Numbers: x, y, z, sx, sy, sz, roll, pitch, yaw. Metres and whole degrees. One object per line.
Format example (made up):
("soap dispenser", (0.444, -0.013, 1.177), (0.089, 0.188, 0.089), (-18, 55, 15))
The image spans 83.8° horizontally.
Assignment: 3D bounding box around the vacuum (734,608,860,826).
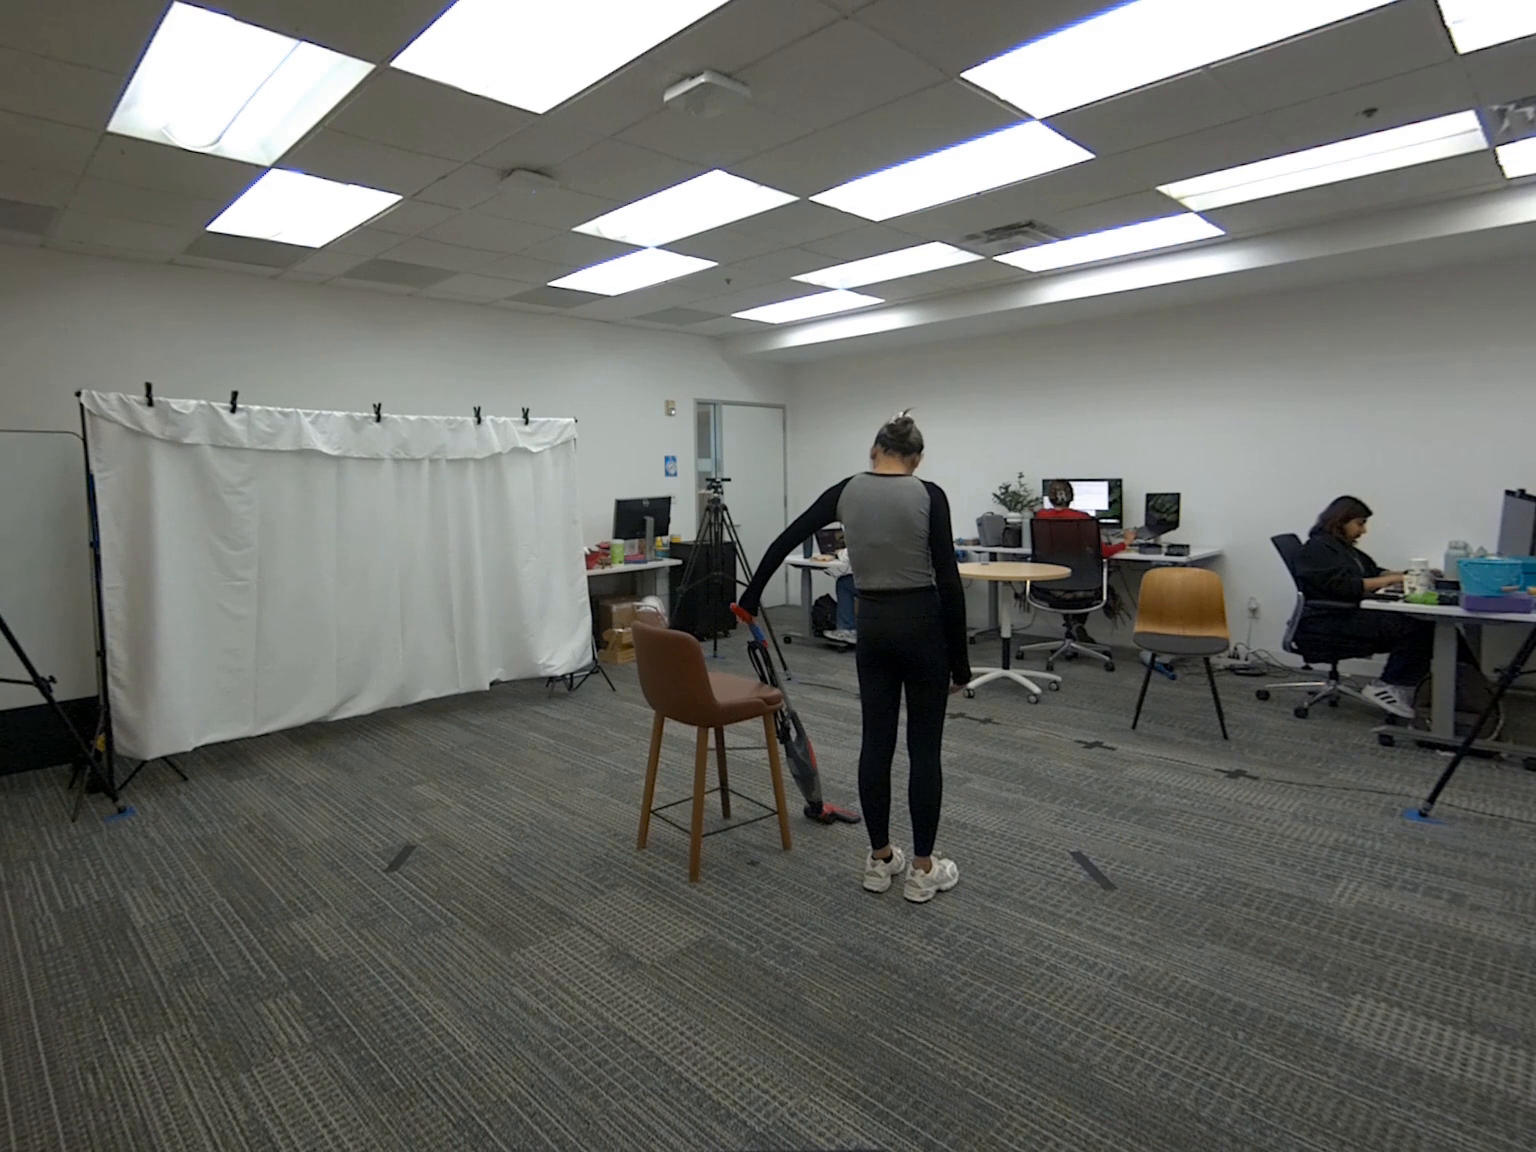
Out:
("vacuum", (0.065, 0.550, 3.342), (0.260, 1.023, 0.143), (0, 31, 44))
